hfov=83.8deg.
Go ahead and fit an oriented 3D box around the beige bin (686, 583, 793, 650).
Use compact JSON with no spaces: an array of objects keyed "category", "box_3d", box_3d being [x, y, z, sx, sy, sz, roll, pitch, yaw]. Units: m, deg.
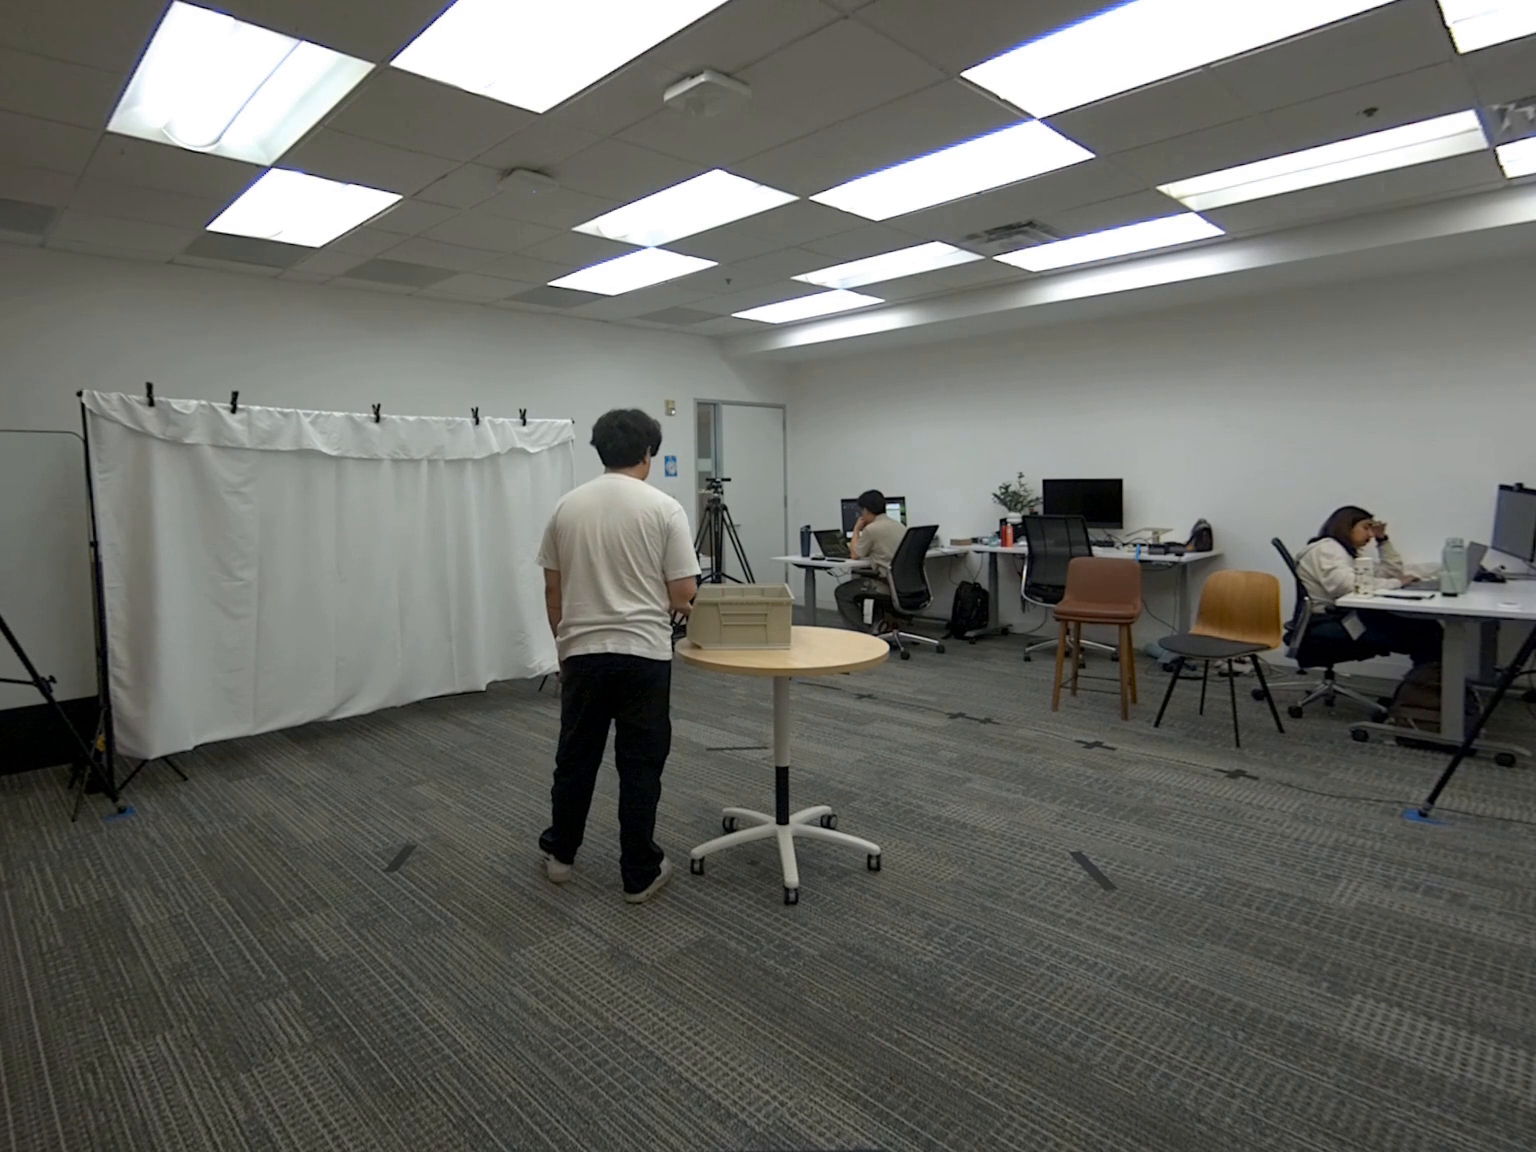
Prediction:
[{"category":"beige bin","box_3d":[-0.111,0.142,3.181,0.377,0.188,0.424,0,5,-2]}]
